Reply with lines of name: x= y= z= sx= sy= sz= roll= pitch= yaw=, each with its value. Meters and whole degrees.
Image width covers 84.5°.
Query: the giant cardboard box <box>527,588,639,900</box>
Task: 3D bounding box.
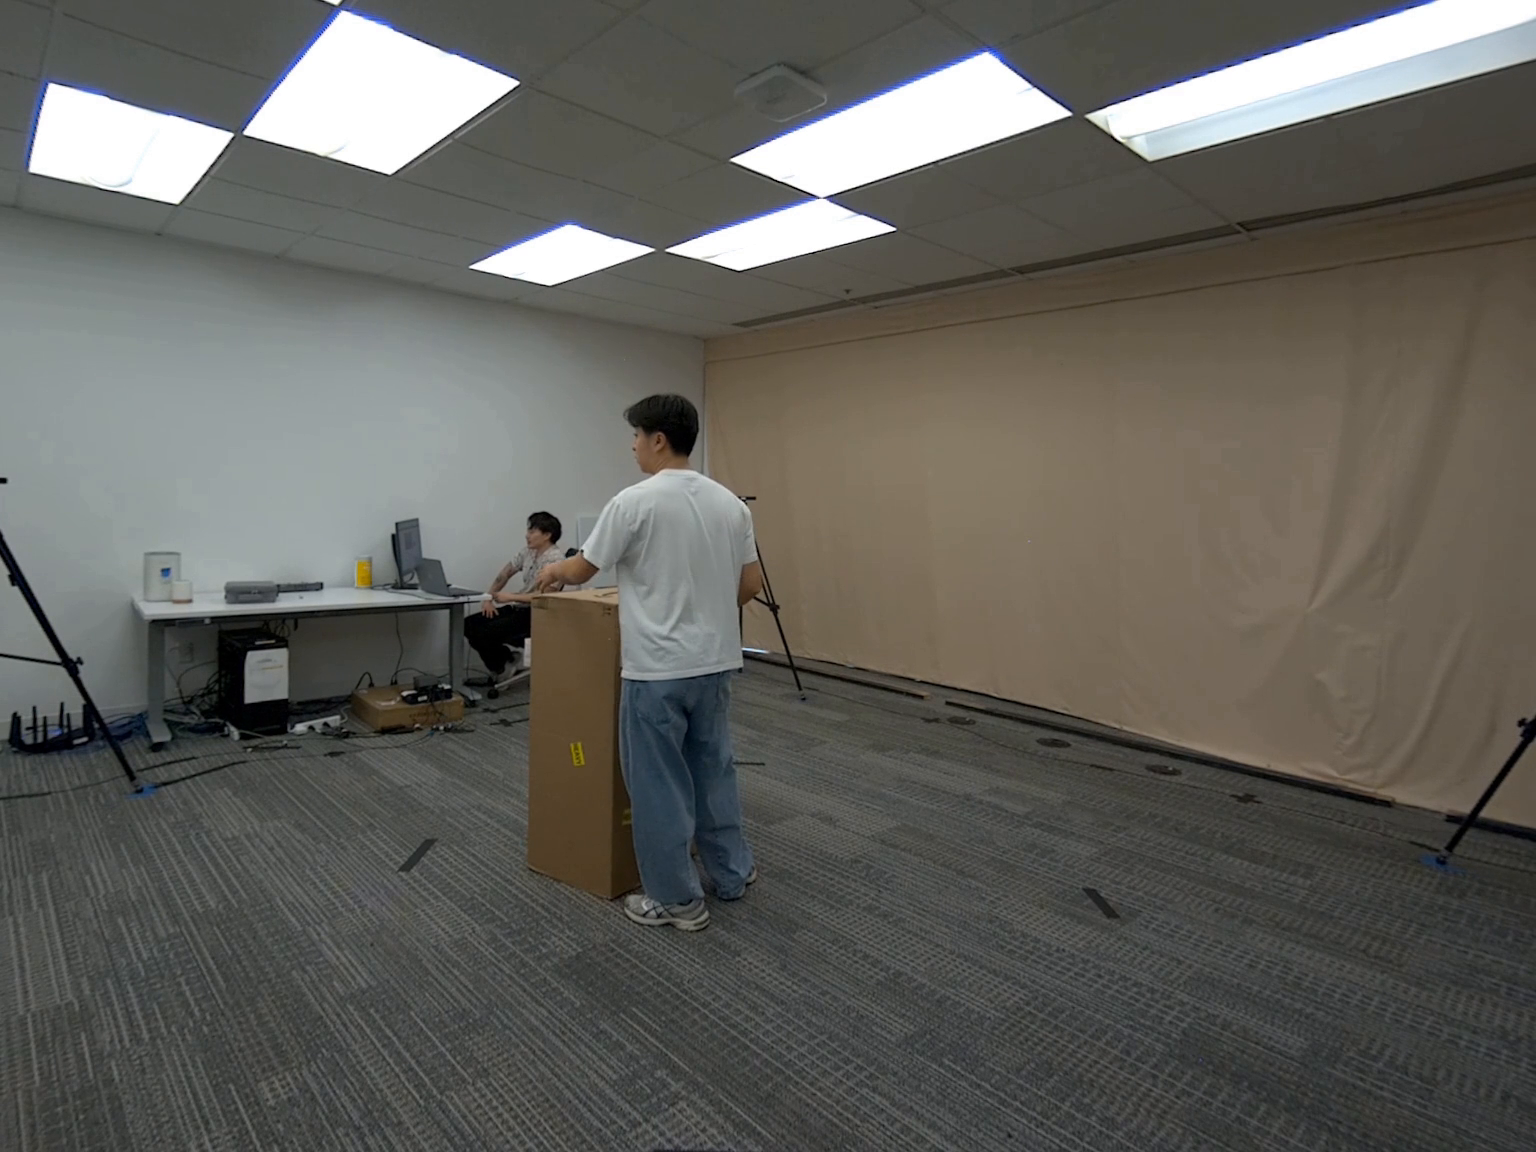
giant cardboard box: x=-0.558 y=0.577 z=3.219 sx=0.436 sy=1.023 sz=0.565 roll=4 pitch=4 yaw=33
